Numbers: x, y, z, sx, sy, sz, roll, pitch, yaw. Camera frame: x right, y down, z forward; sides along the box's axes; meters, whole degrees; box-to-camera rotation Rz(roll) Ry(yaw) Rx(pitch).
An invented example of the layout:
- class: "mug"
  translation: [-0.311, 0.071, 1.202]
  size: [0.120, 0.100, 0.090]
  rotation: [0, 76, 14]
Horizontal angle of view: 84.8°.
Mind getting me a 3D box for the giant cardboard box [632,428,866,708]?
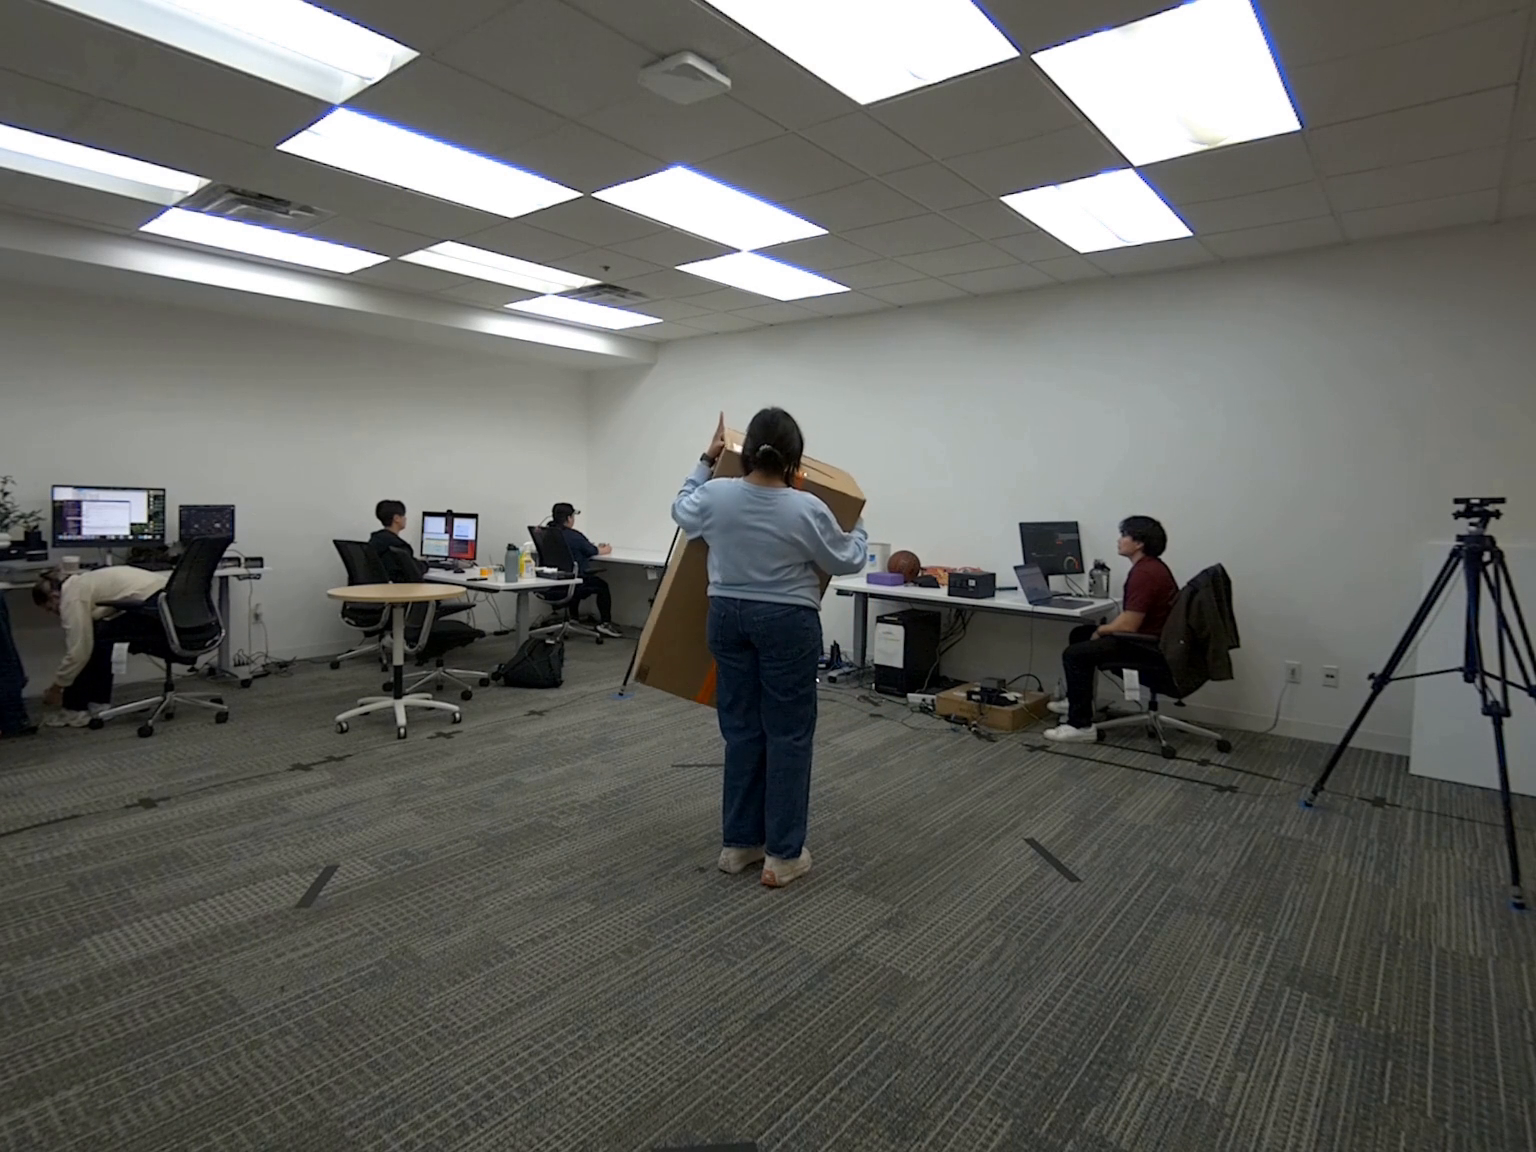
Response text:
- class: "giant cardboard box"
  translation: [-0.099, -0.005, 3.489]
  size: [0.579, 1.018, 0.455]
  rotation: [20, 17, -7]
